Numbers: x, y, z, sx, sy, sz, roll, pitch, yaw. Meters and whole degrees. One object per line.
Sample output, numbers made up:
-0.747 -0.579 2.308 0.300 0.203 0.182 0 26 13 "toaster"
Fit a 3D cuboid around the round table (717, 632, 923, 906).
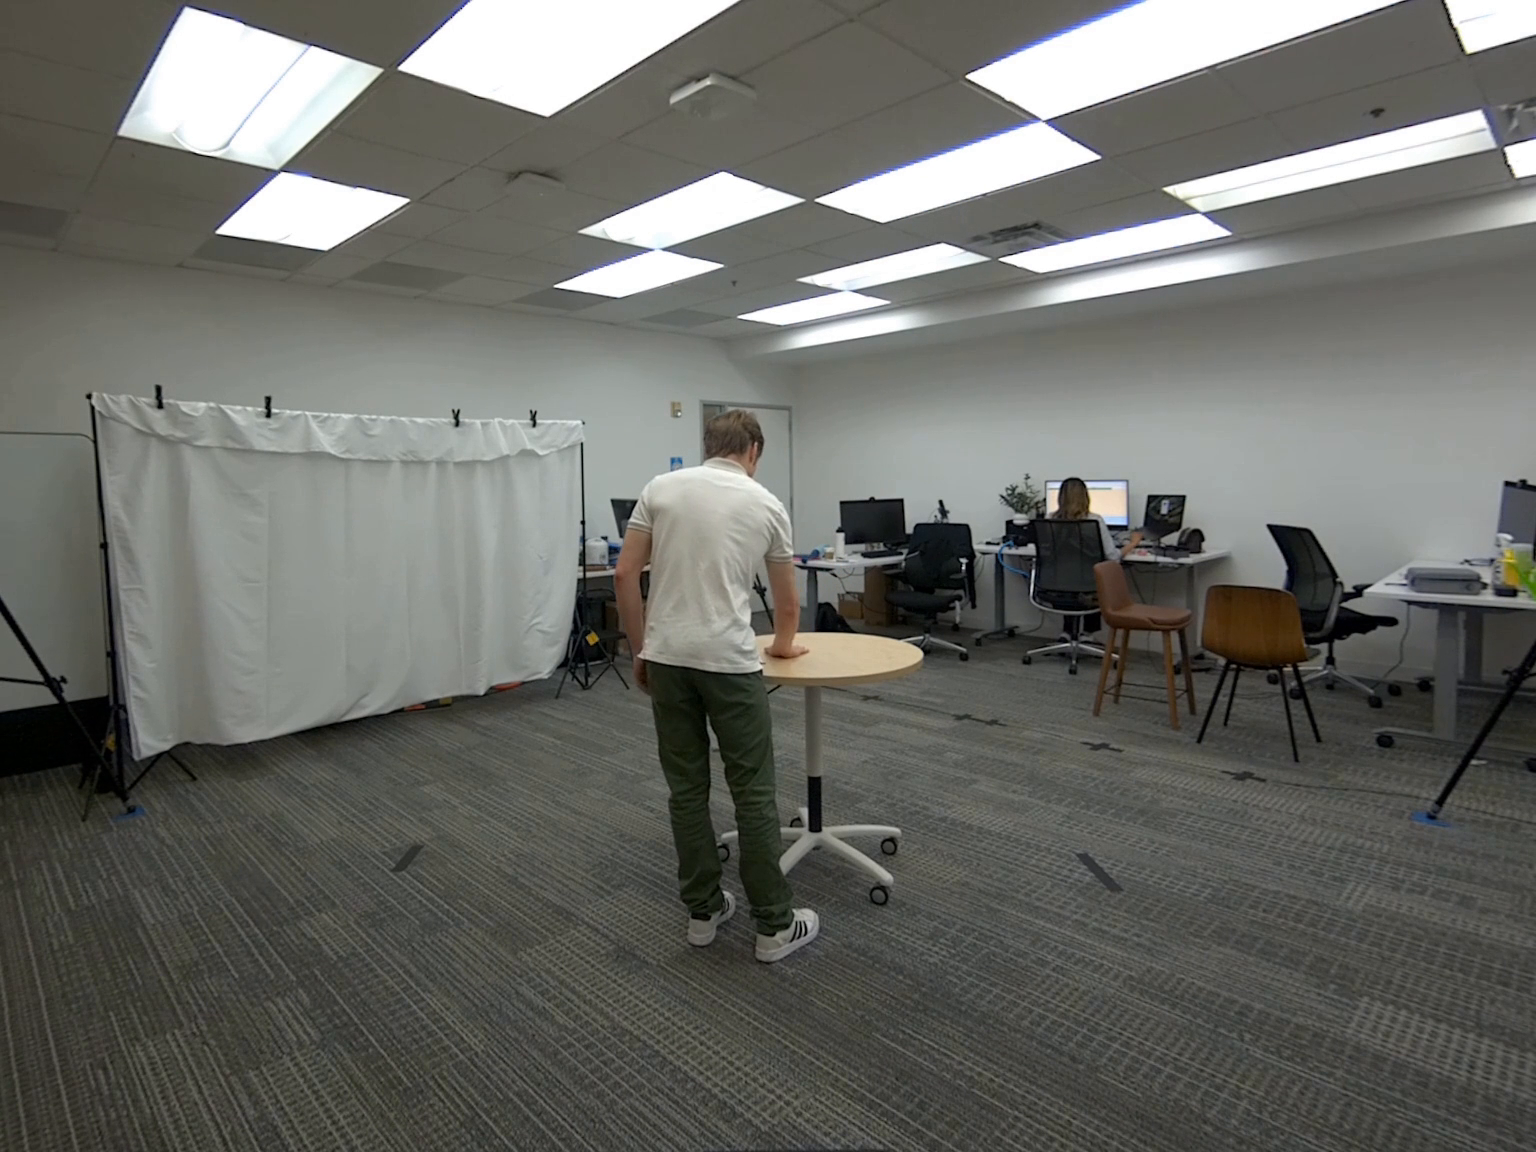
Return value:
0.181 0.657 3.046 0.784 0.783 0.789 -2 5 -2 "round table"
